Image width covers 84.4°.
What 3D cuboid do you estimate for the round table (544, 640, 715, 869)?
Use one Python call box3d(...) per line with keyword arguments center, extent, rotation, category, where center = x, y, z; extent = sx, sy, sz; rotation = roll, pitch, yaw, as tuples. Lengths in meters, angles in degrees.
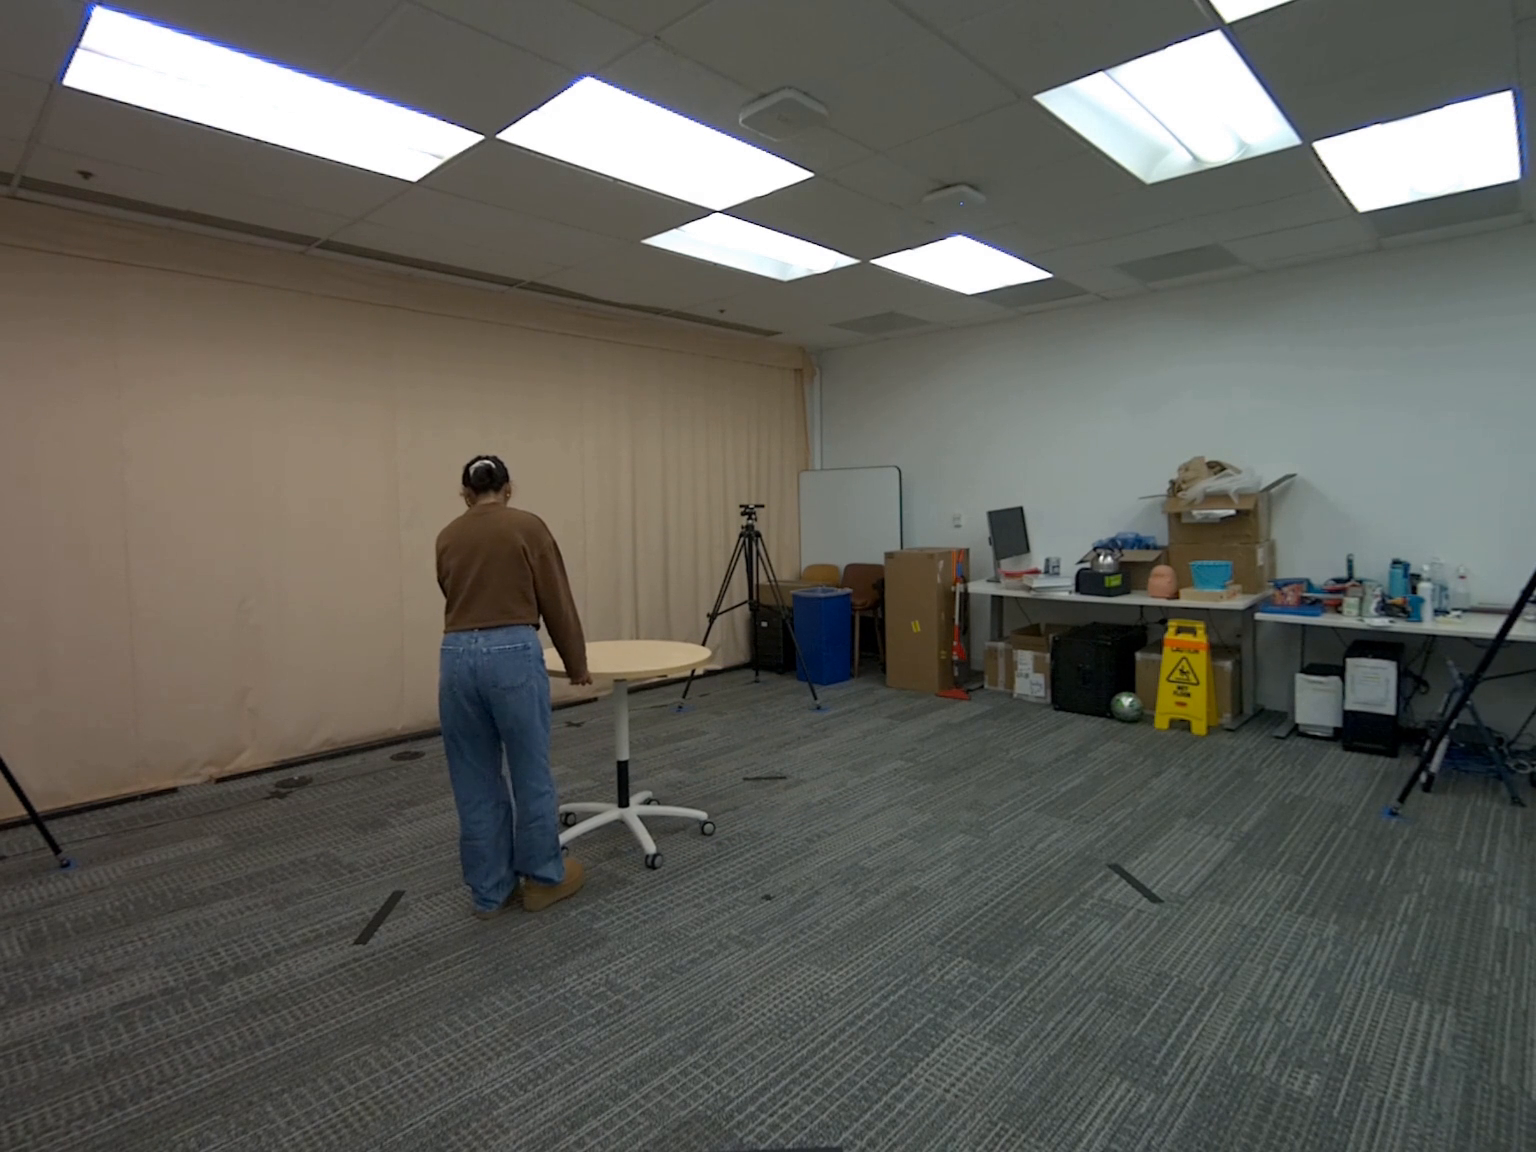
box3d(center=(-0.605, 0.721, 3.520), extent=(0.763, 0.792, 0.766), rotation=(-2, 3, -2), category="round table")
